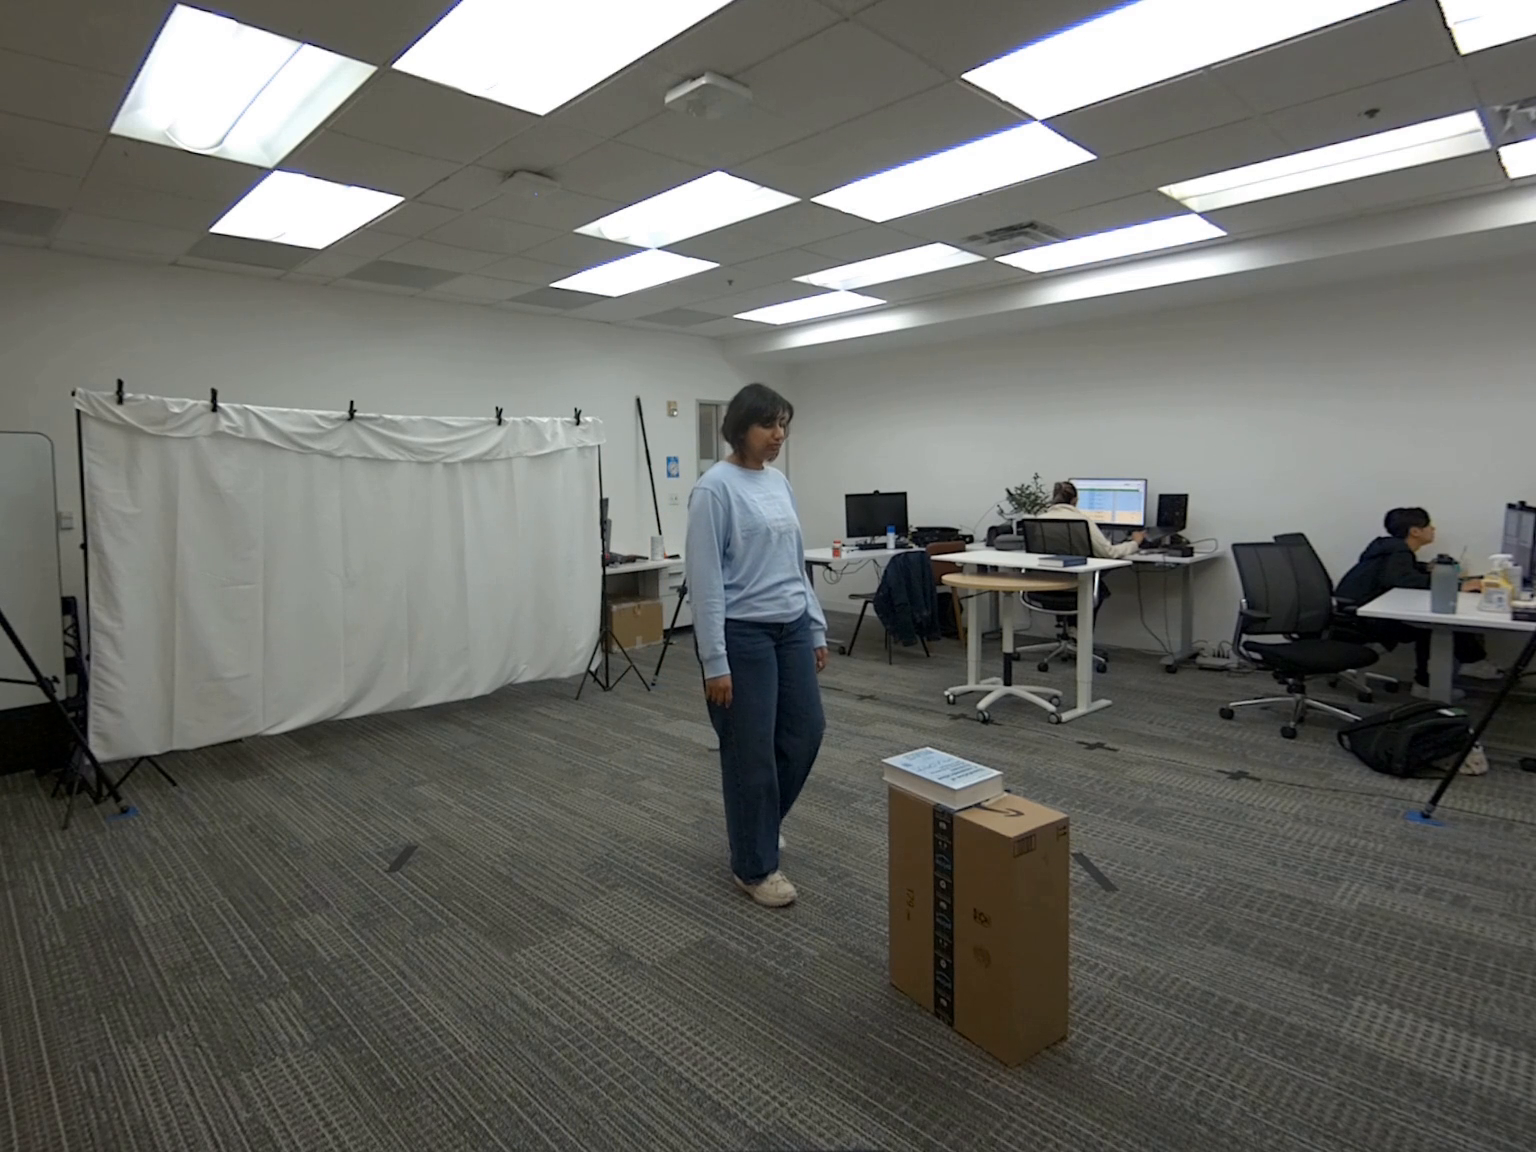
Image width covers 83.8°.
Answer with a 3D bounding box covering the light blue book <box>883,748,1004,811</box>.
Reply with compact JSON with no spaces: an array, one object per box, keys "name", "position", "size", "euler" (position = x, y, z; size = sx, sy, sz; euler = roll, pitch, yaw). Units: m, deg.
[{"name":"light blue book","position":[0.469,0.536,2.288],"size":[0.187,0.059,0.269],"euler":[-7,9,-36]}]
